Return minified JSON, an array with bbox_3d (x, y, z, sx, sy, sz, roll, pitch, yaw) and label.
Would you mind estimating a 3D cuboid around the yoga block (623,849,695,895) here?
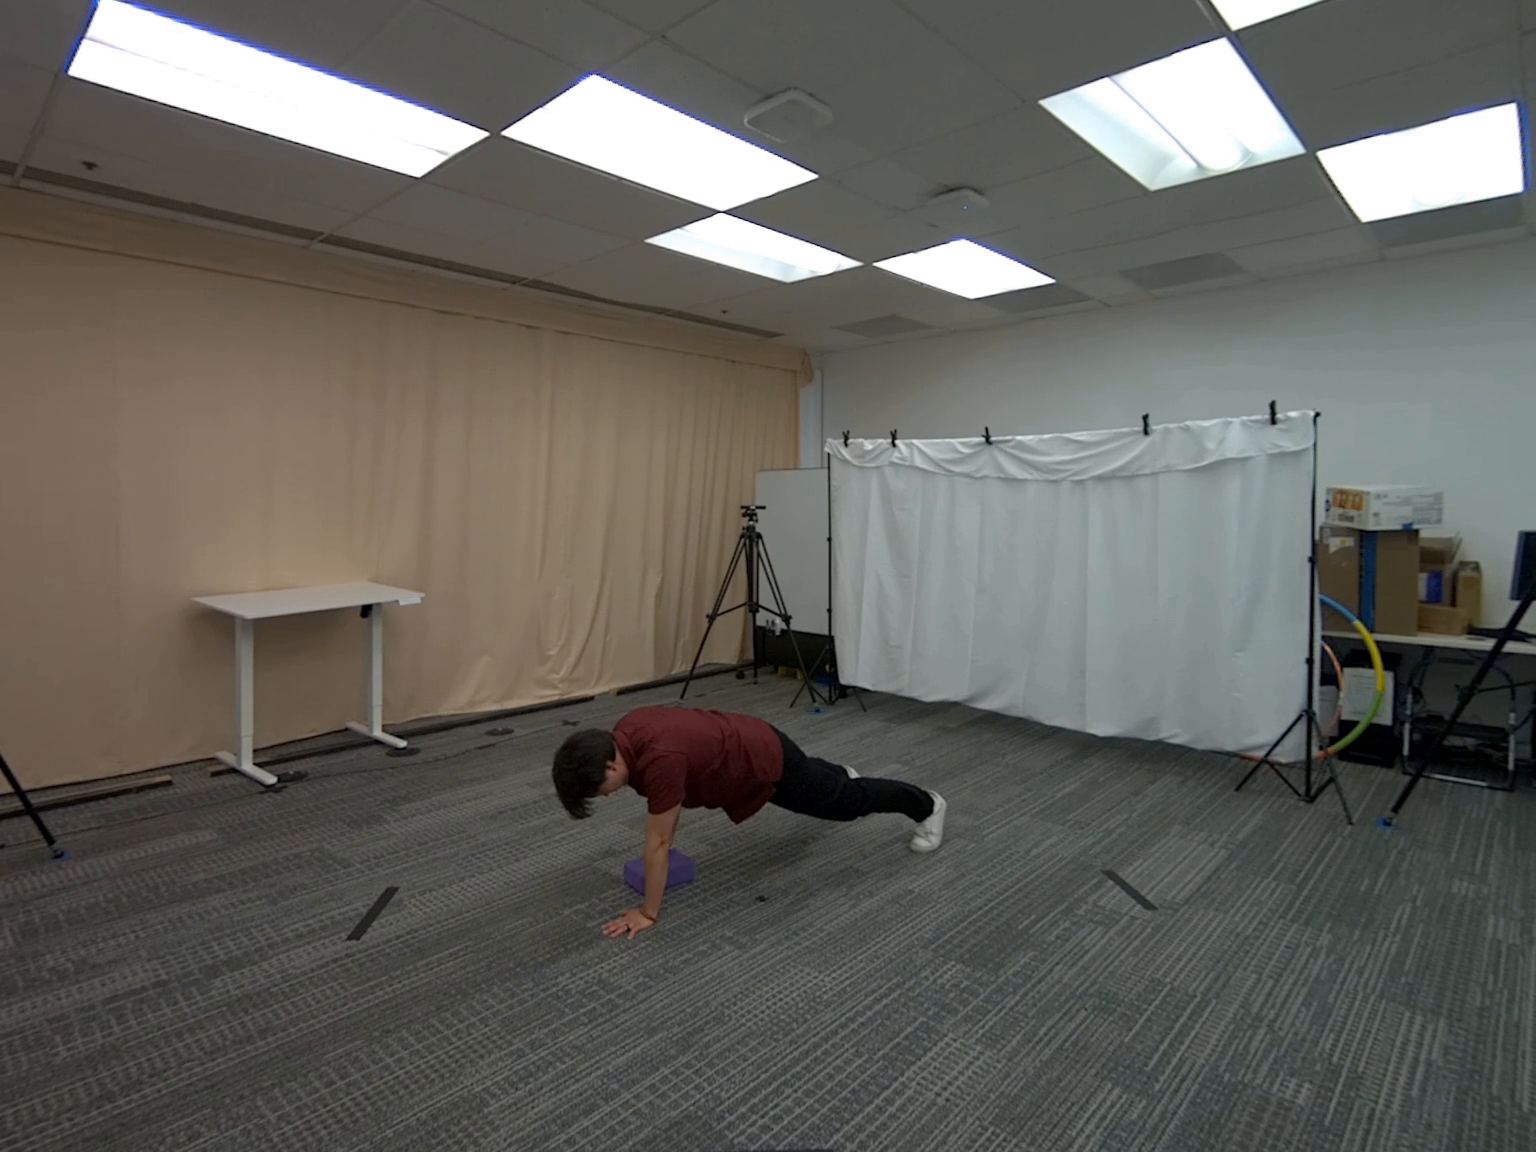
[{"bbox_3d":[-0.397,1.090,3.119,0.223,0.076,0.154,-4,8,-37],"label":"yoga block"}]
